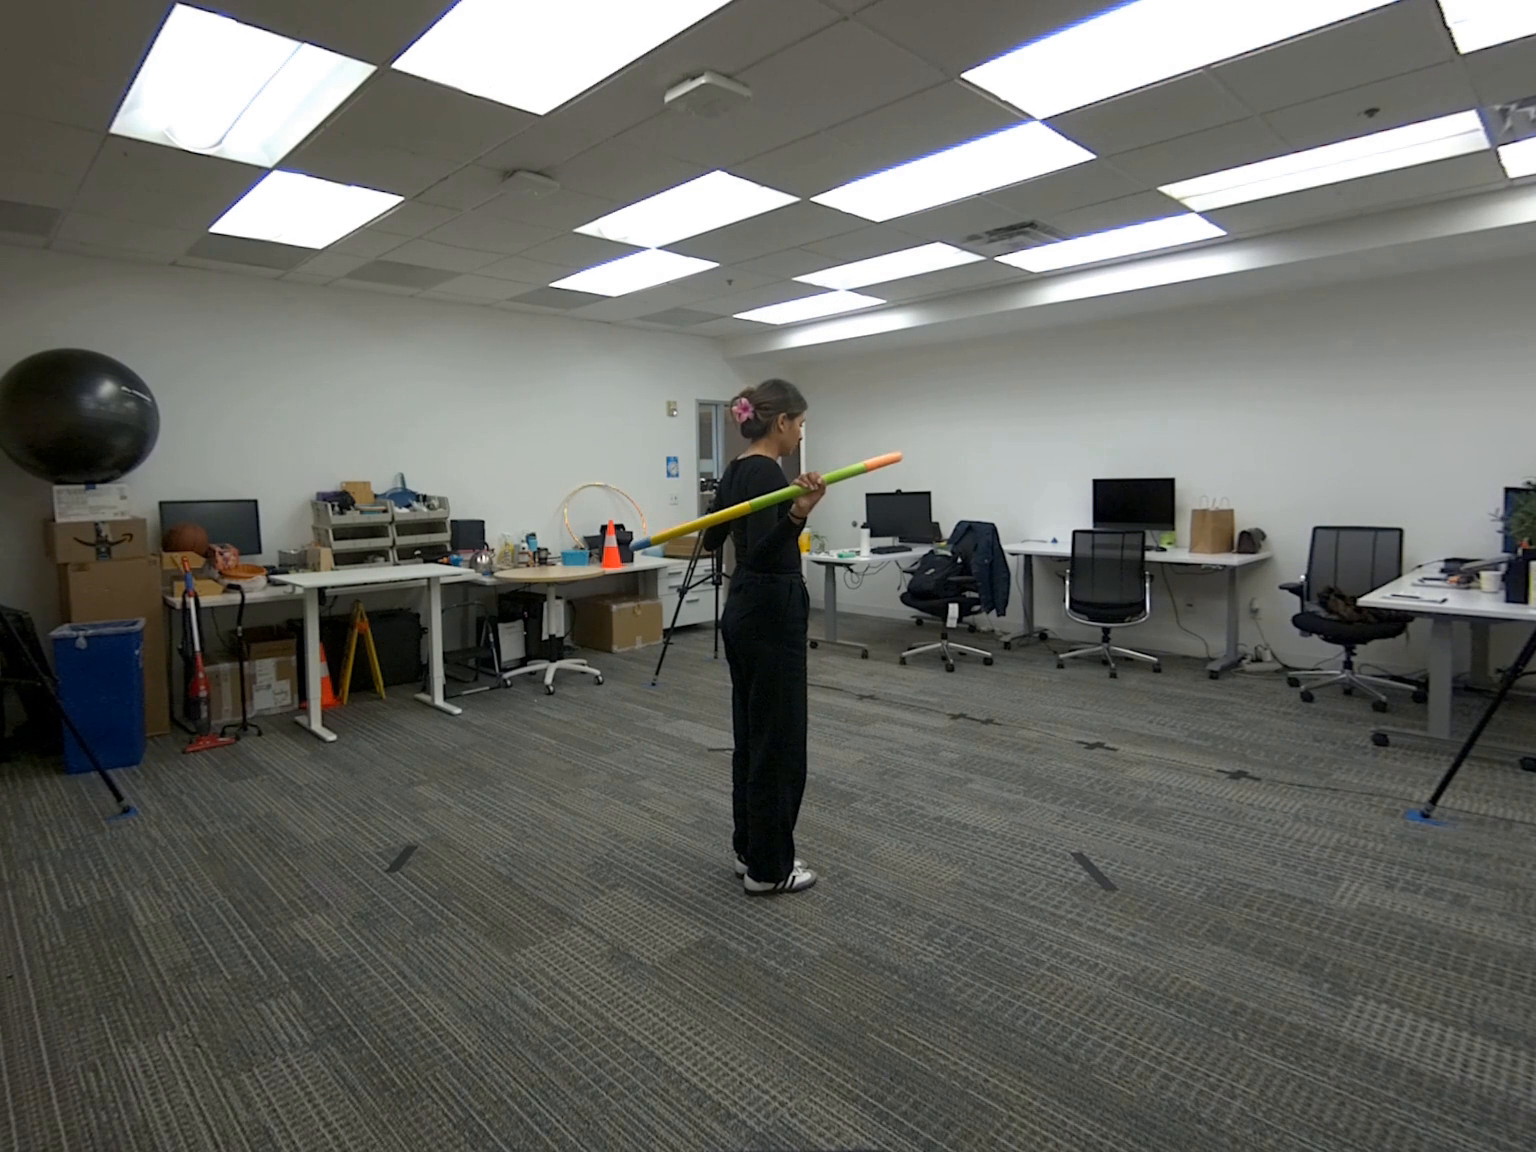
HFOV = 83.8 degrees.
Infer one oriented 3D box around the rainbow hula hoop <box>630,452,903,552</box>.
[{"bbox_3d":[-0.009,-0.252,2.937,0.978,0.035,0.981,-19,4,-1],"label":"rainbow hula hoop"}]
